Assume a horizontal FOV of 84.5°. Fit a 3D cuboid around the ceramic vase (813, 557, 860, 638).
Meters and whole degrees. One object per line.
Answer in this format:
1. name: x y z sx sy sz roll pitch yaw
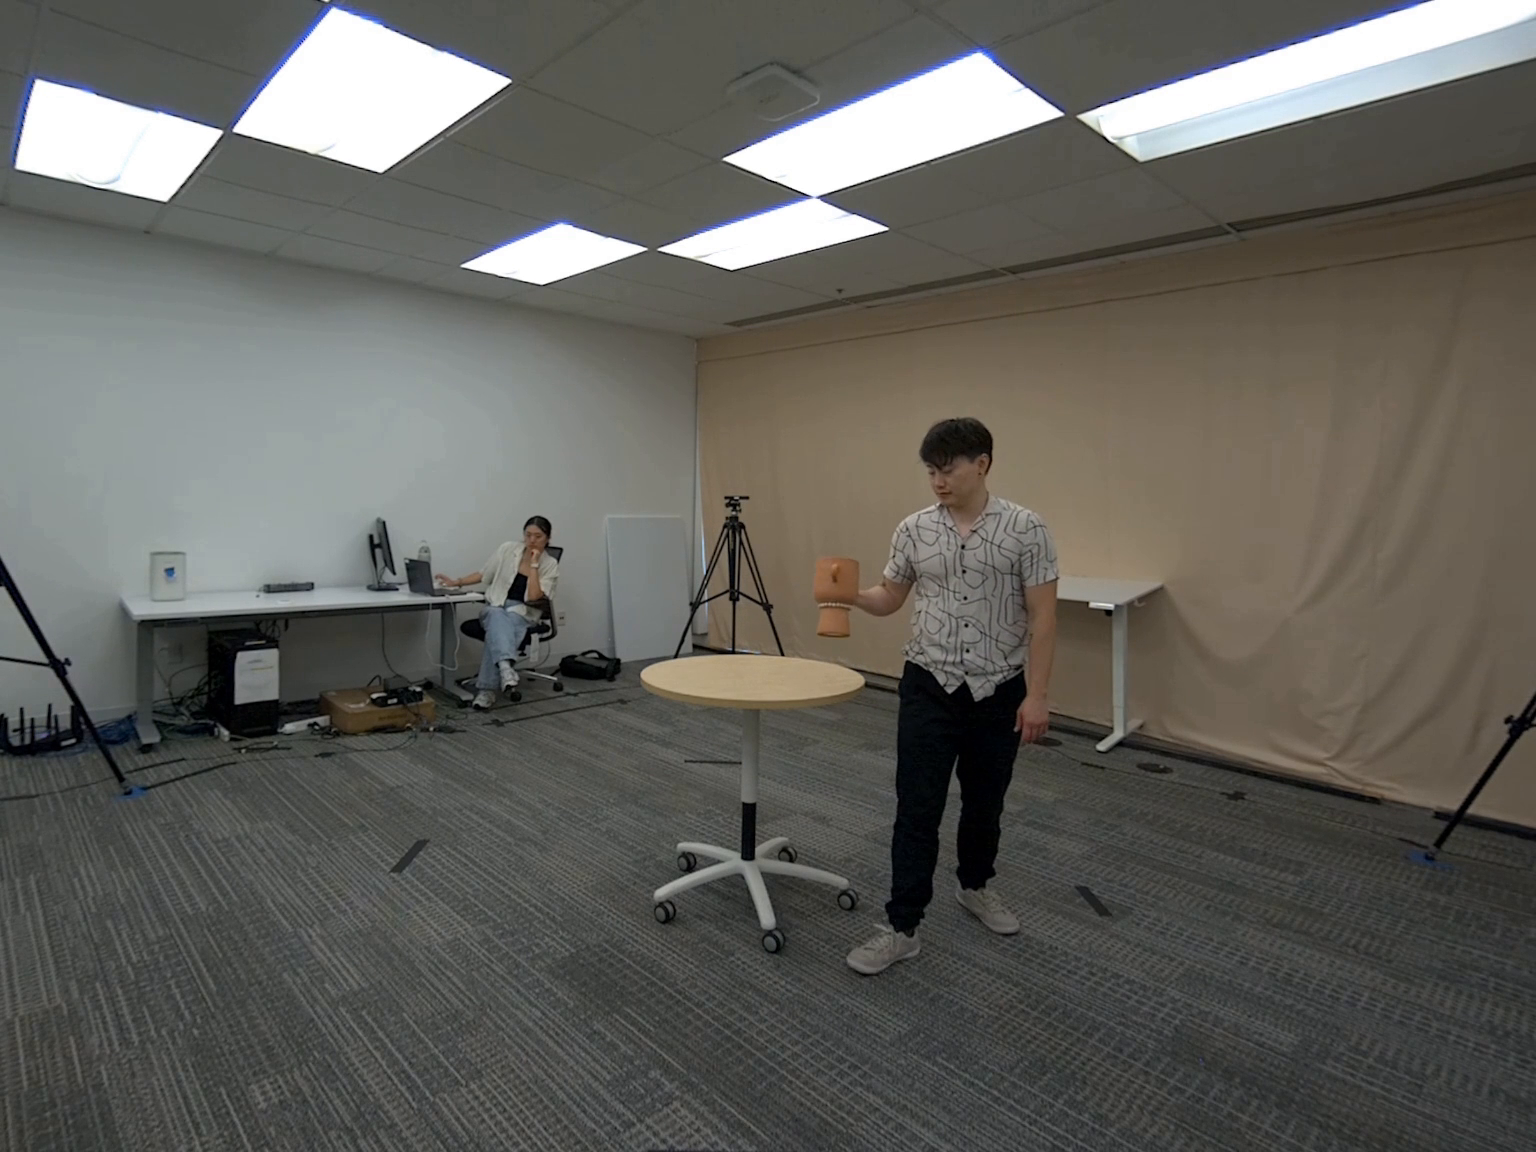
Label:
1. ceramic vase: 0.199 0.063 2.477 0.154 0.221 0.137 11 -13 -39
